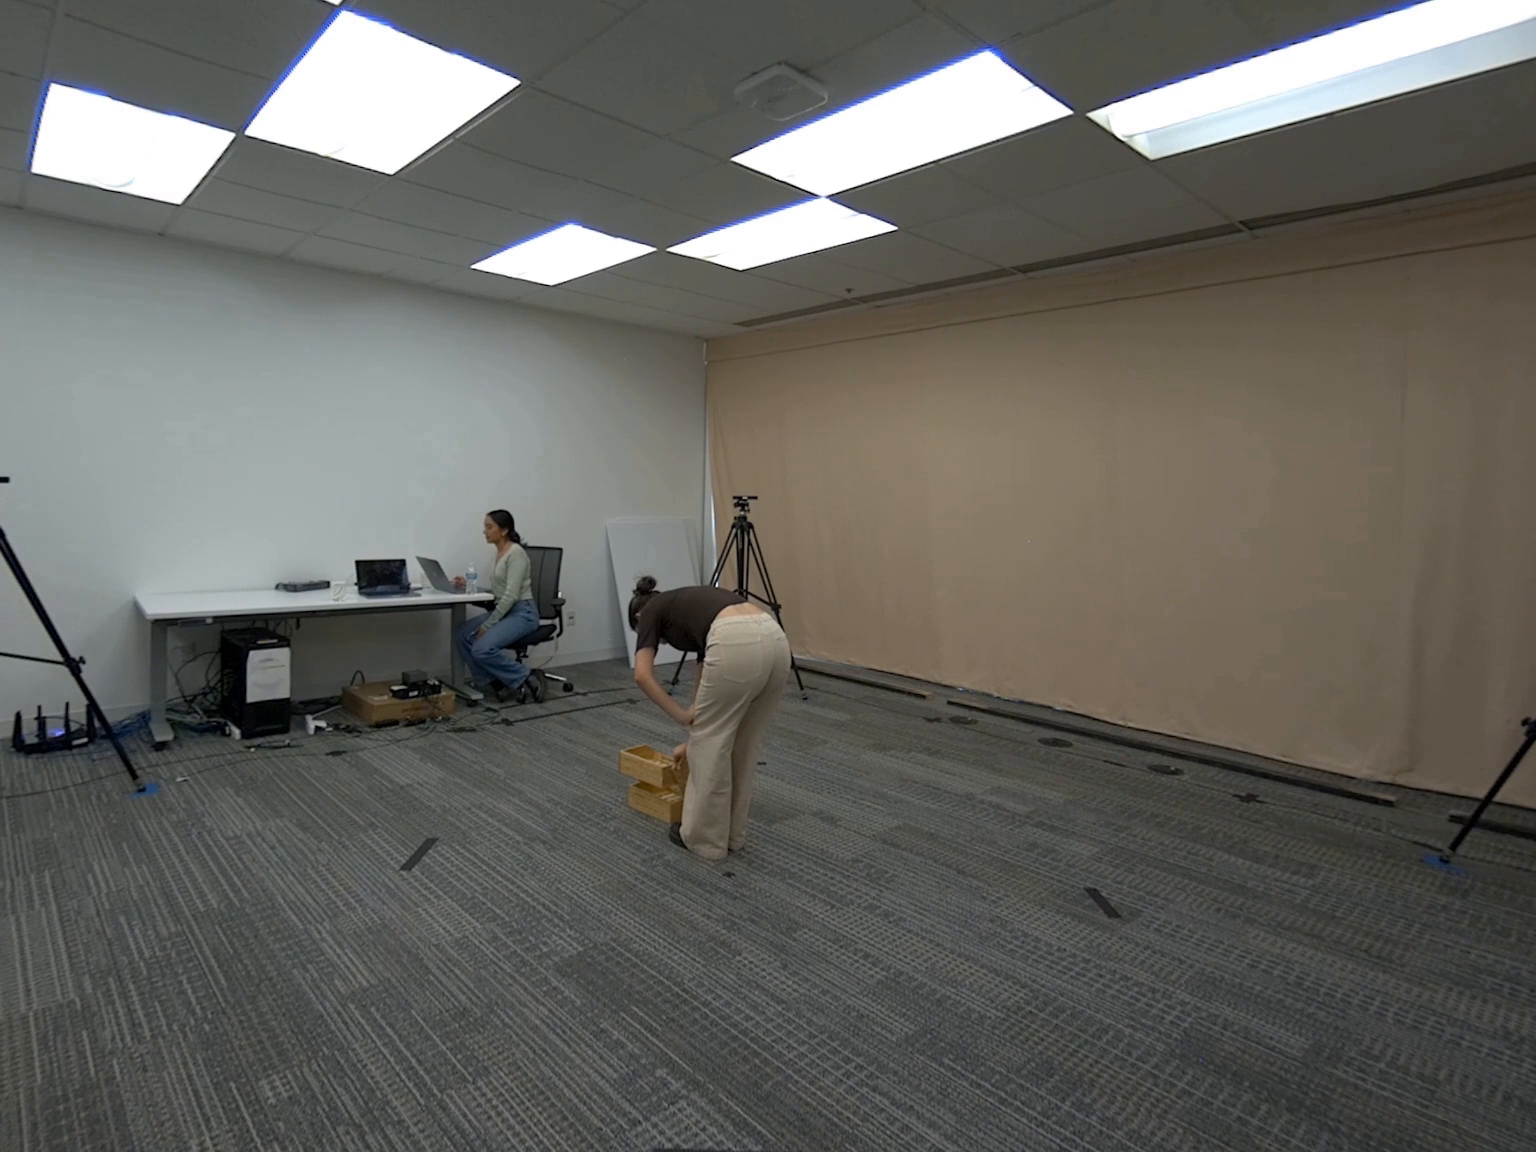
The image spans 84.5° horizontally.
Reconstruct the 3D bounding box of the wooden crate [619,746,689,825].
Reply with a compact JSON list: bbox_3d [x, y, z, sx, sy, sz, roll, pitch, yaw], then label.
[{"bbox_3d":[-0.460,0.905,3.741,0.333,0.272,0.295,6,7,44],"label":"wooden crate"}]
